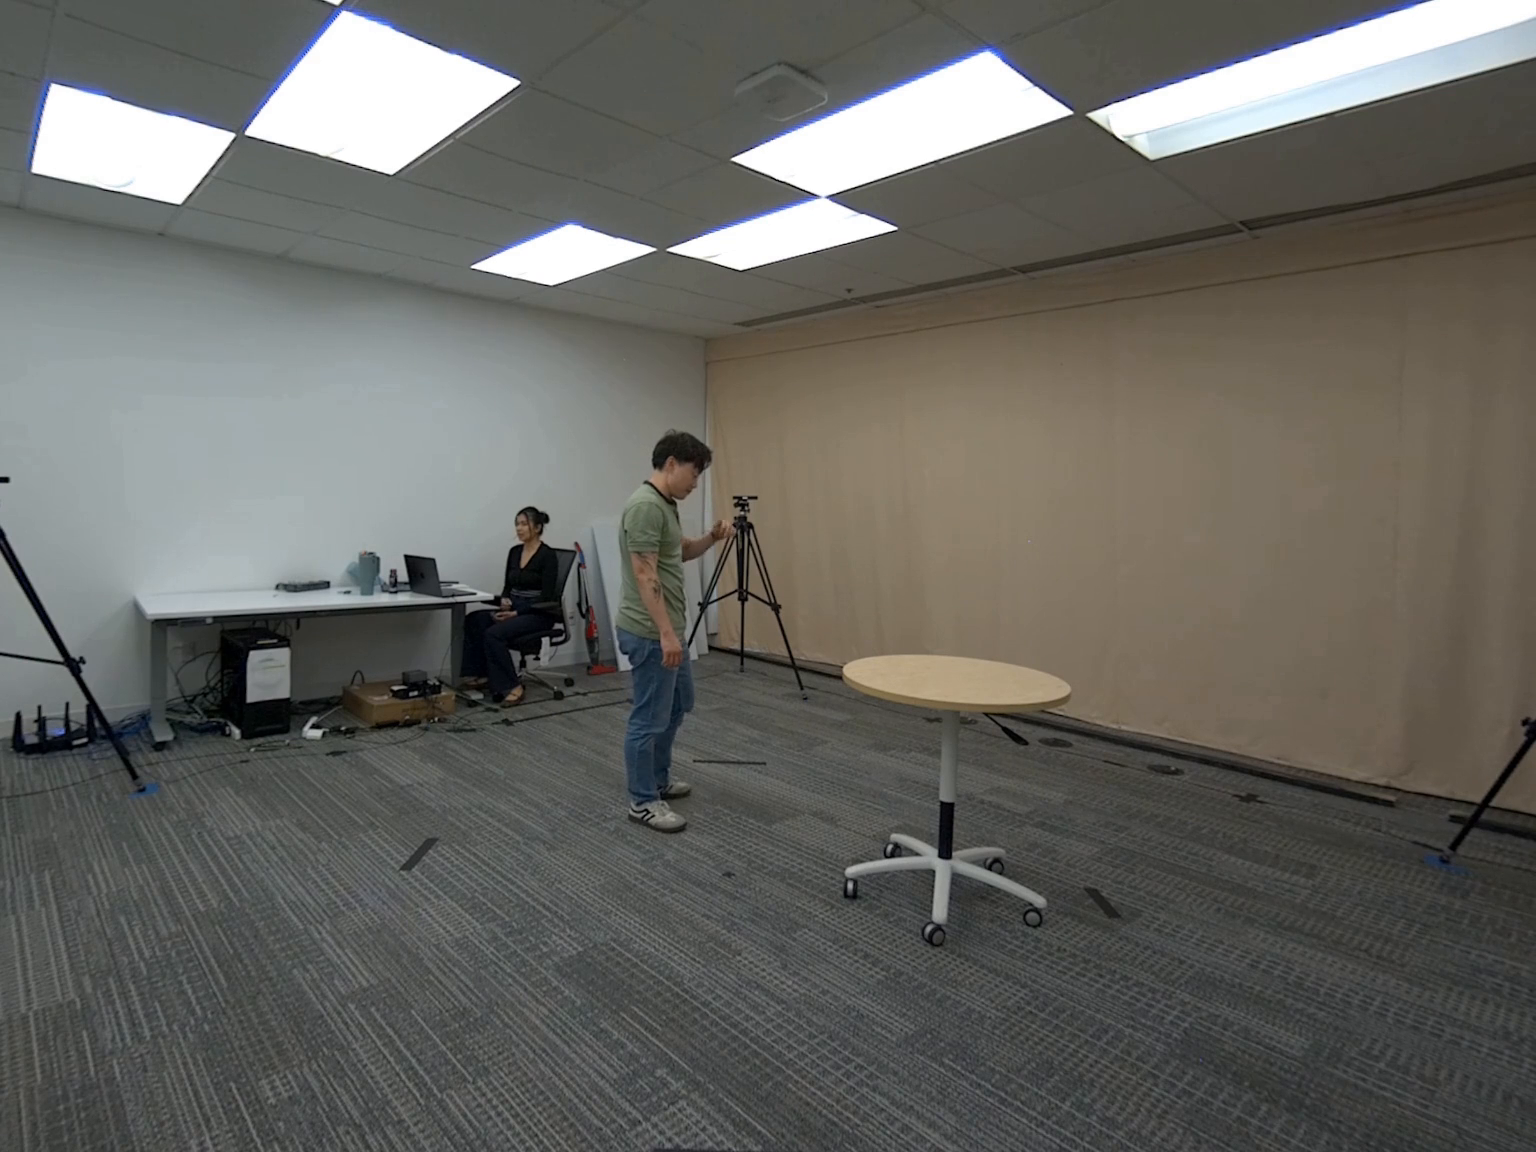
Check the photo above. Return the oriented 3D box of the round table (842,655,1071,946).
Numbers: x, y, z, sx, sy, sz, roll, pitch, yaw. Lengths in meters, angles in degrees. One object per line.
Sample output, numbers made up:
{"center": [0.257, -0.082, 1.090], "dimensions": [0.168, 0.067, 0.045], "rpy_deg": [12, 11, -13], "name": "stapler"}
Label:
{"center": [0.622, 0.744, 2.960], "dimensions": [0.763, 0.791, 0.767], "rpy_deg": [2, 5, -2], "name": "round table"}
